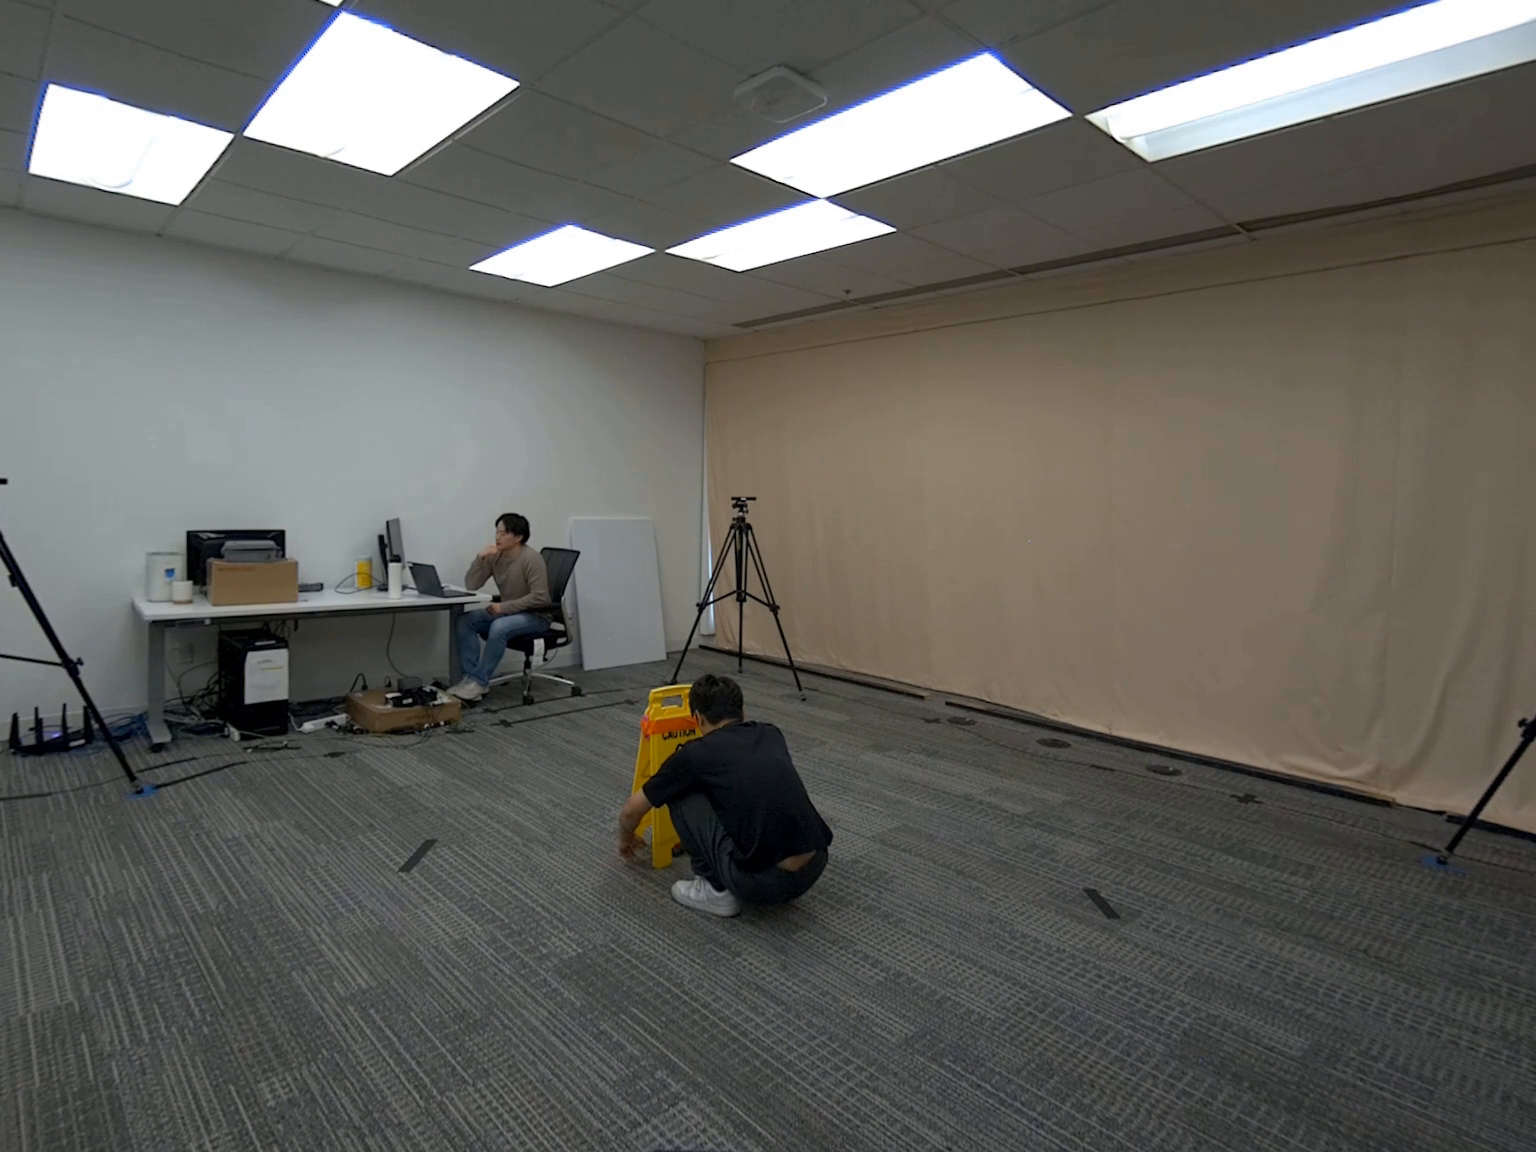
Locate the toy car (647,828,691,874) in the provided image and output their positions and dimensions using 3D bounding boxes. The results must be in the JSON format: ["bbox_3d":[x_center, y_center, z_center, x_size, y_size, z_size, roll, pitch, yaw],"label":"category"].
[{"bbox_3d":[-0.336,1.062,3.357,0.250,0.082,0.134,-15,15,-41],"label":"toy car"}]
